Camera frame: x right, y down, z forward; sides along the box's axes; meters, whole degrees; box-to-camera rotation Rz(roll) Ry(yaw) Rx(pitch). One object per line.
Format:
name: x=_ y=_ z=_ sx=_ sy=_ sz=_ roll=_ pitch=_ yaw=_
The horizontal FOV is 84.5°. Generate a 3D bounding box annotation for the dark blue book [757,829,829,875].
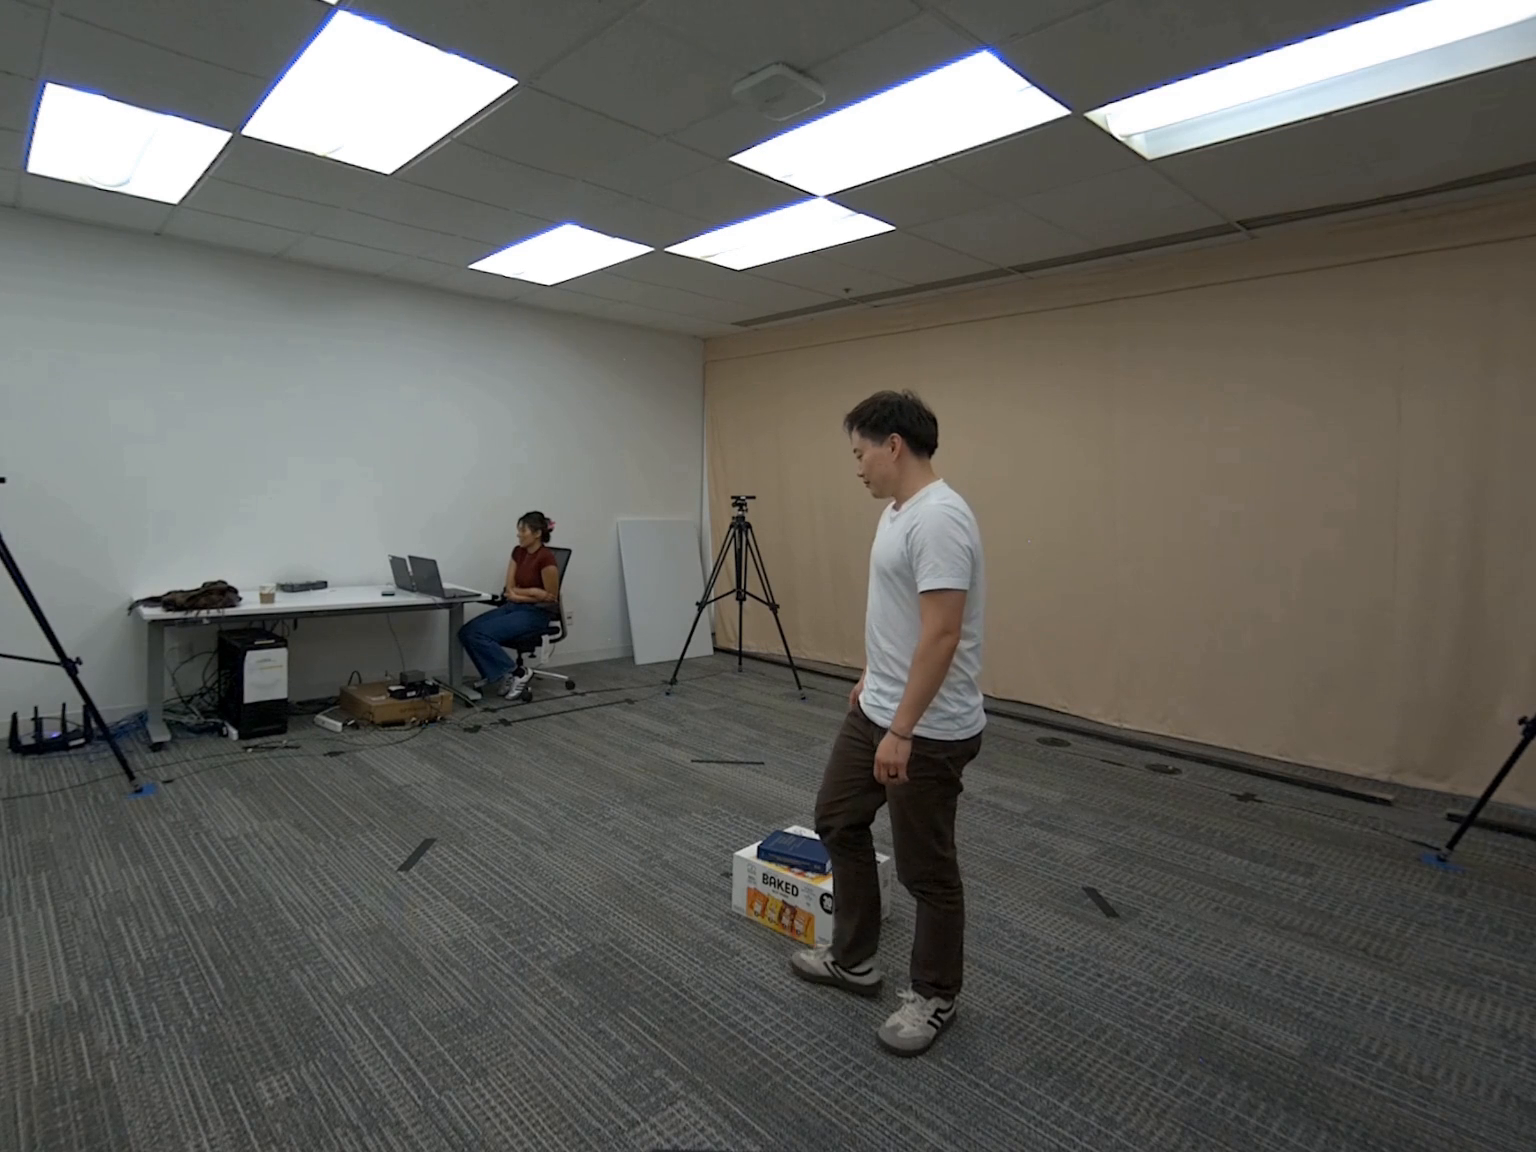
dark blue book: x=0.104 y=0.923 z=2.784 sx=0.250 sy=0.045 sz=0.160 roll=5 pitch=5 yaw=26
